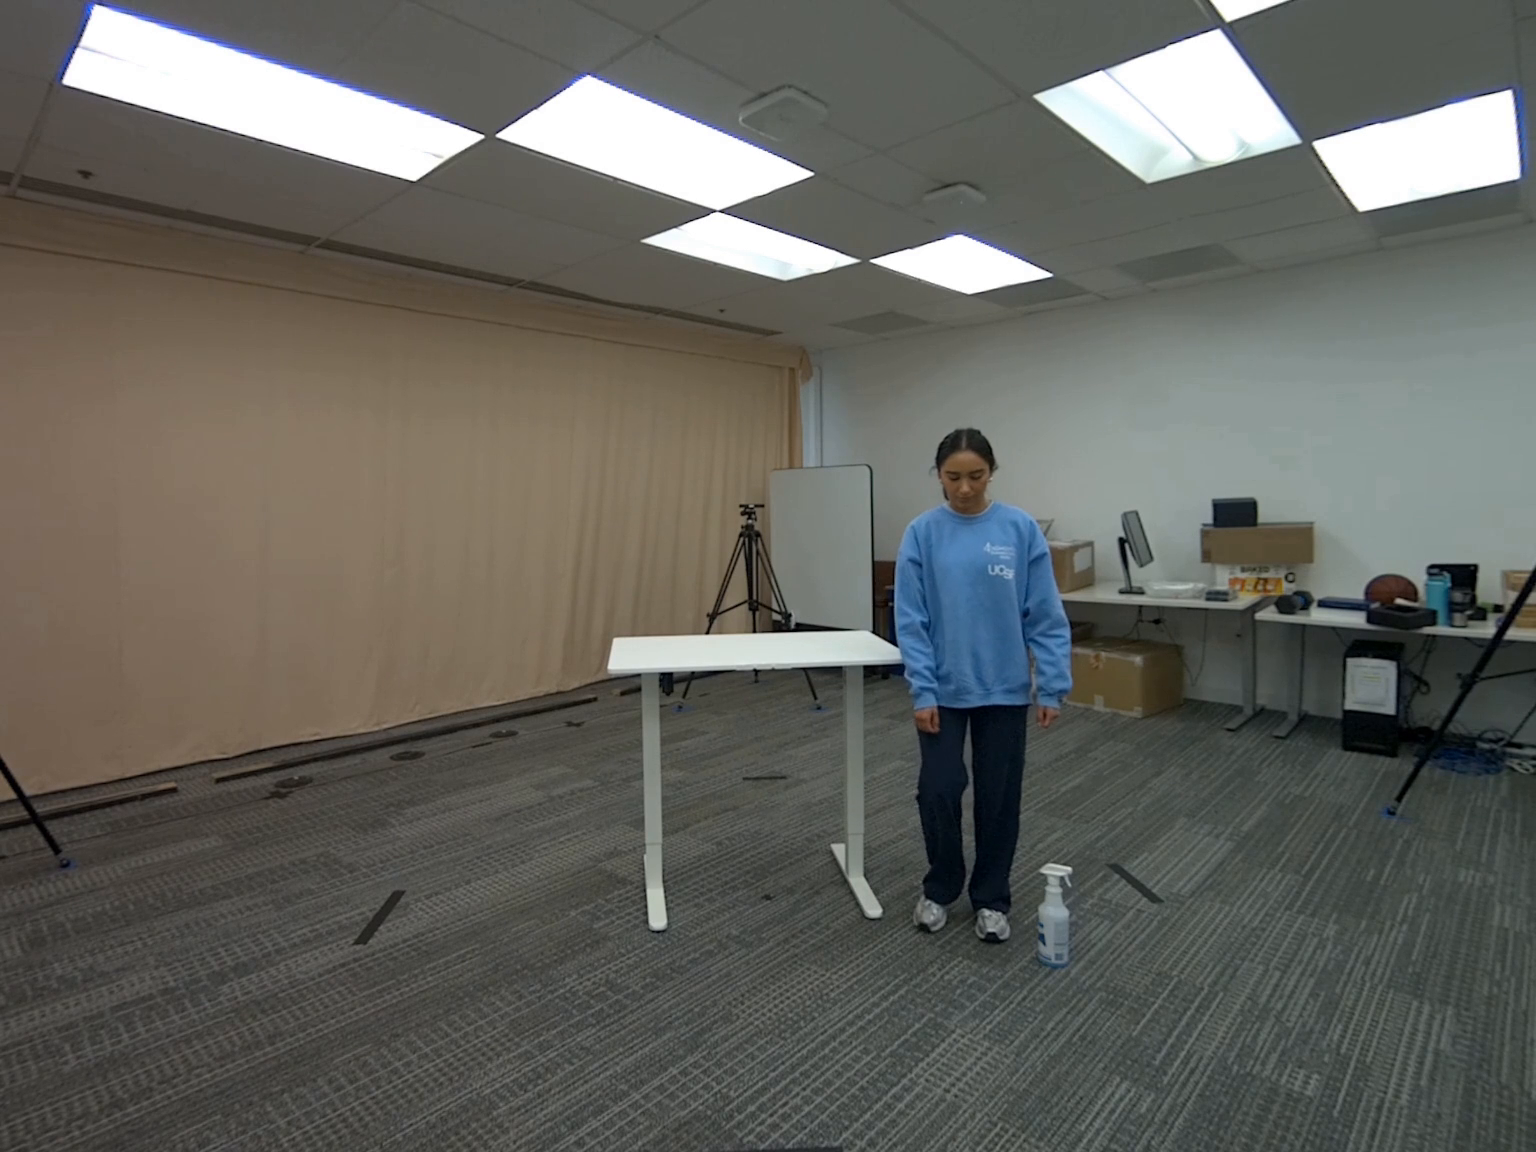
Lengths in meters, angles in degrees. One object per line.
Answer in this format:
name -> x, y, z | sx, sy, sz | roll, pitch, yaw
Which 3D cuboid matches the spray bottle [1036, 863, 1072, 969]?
spray bottle -> 0.864, 1.013, 2.537 | 0.084, 0.297, 0.093 | -1, 4, -31
